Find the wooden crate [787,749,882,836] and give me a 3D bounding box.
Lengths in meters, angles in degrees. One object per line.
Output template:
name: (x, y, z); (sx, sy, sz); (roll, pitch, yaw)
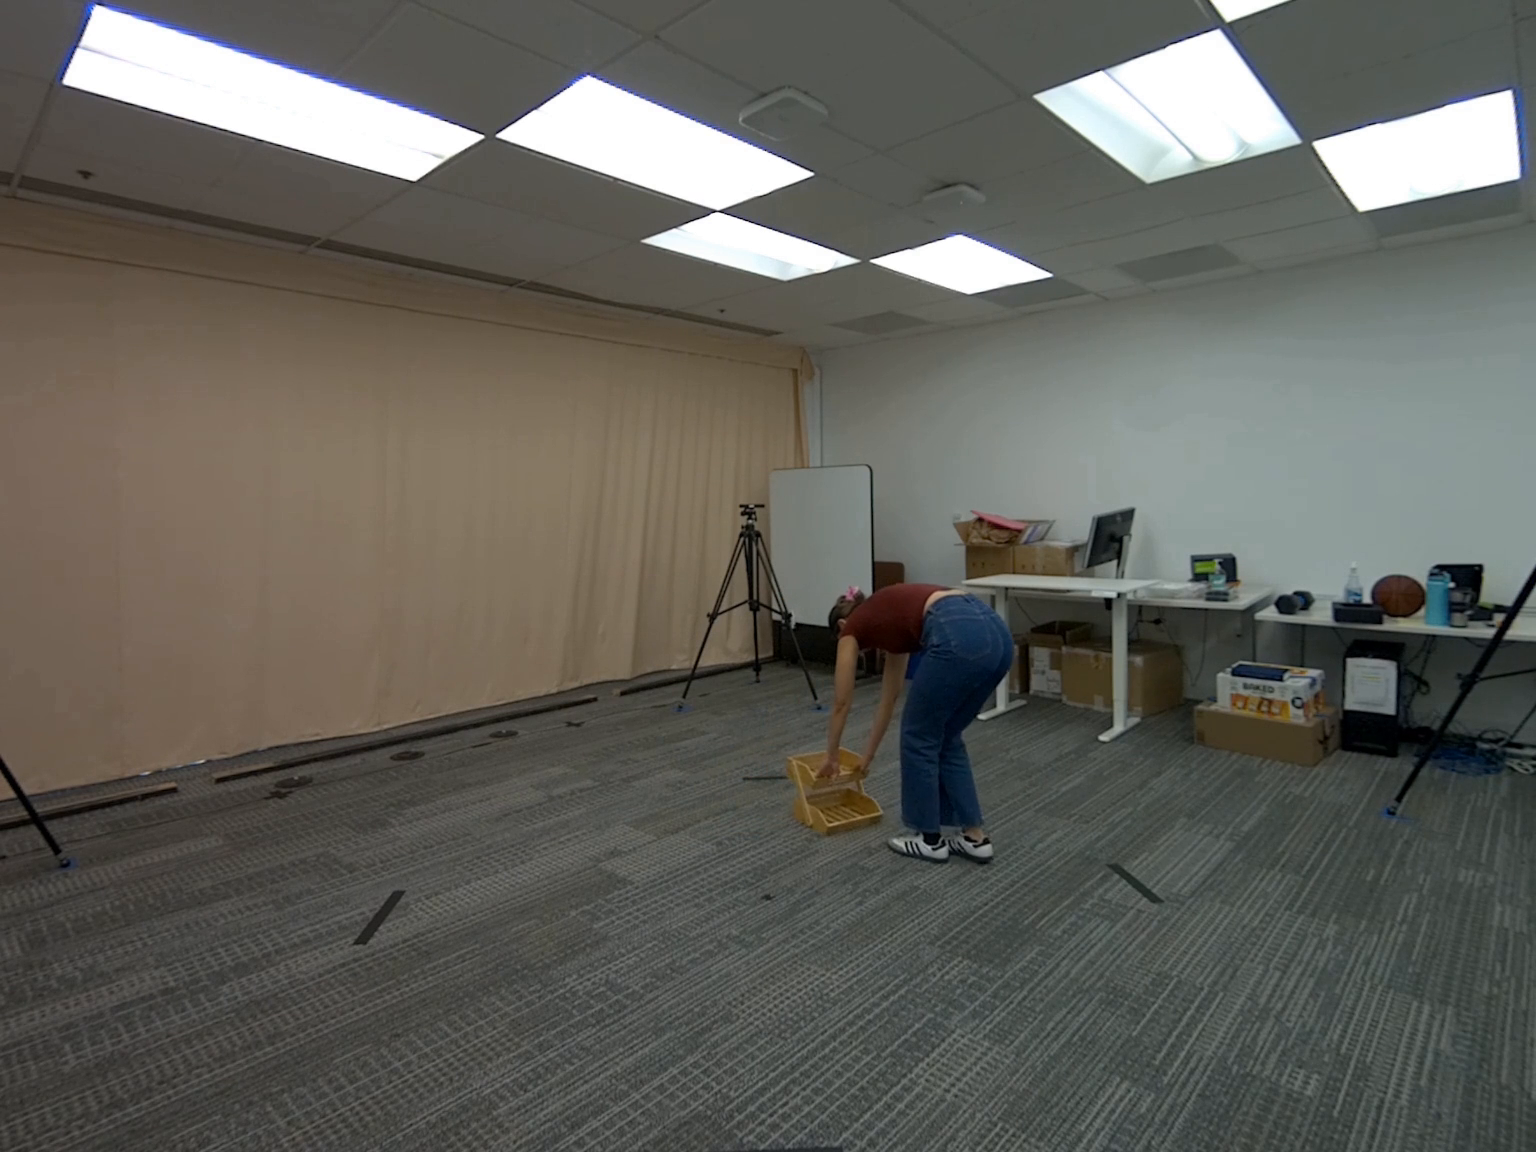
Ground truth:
wooden crate: (0.298, 0.936, 3.710); (0.316, 0.273, 0.311); (-3, 4, -31)
